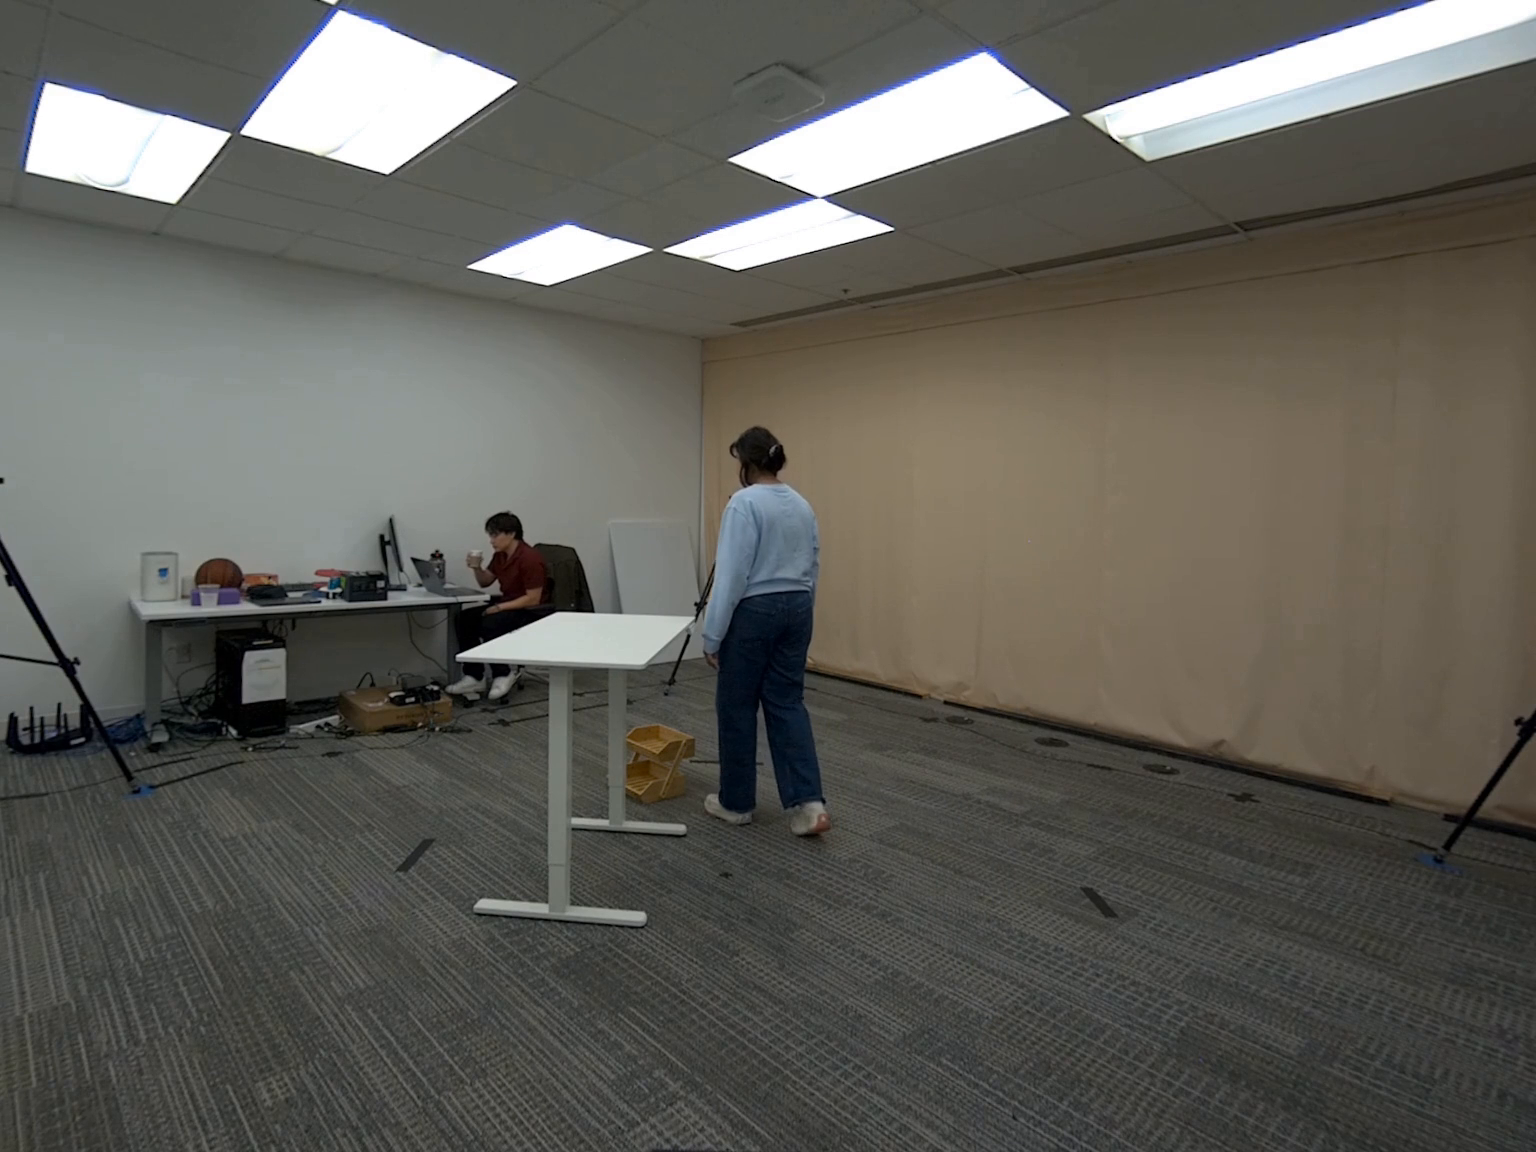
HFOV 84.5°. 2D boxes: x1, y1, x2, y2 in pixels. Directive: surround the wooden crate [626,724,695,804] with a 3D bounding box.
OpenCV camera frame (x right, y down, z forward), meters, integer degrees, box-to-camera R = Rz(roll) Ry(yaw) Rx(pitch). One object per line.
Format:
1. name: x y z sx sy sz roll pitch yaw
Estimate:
1. wooden crate: -0.565 0.873 3.998 0.295 0.272 0.333 -1 5 -40
